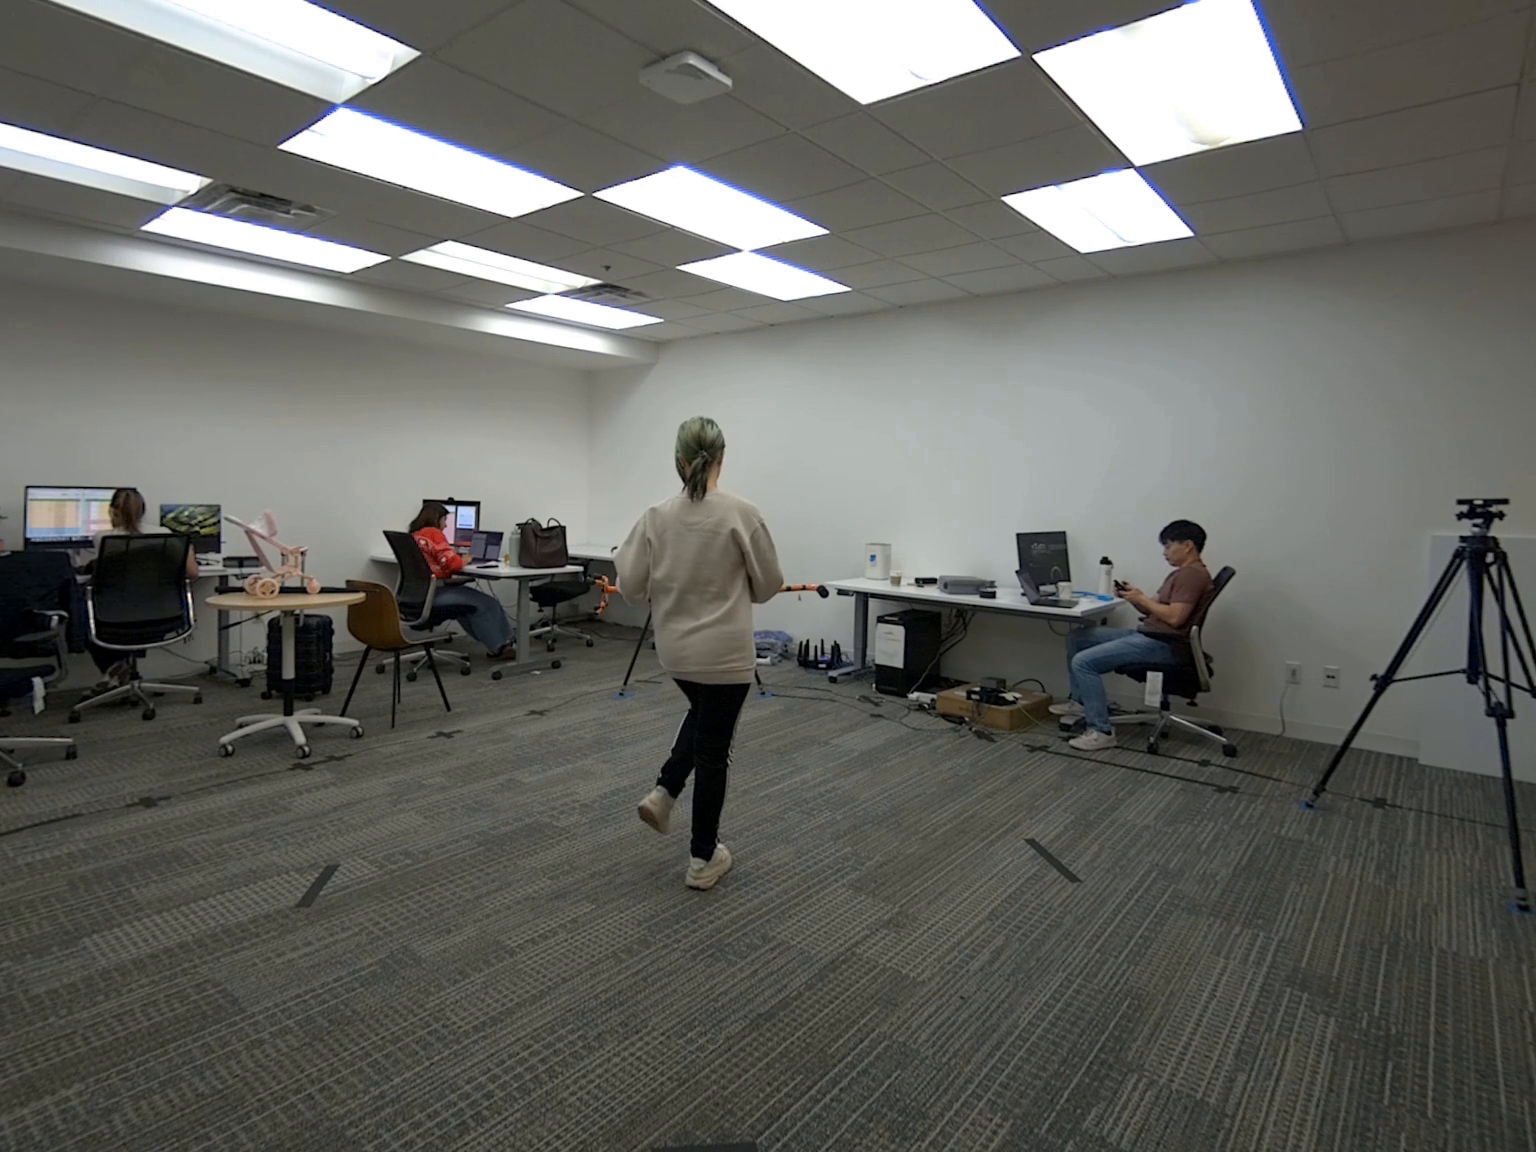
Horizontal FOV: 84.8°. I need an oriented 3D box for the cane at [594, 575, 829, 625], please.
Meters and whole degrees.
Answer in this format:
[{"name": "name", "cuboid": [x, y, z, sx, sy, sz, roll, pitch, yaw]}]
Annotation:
[{"name": "cane", "cuboid": [-0.237, 0.061, 3.278, 0.910, 0.151, 0.206, -1, 3, 3]}]
